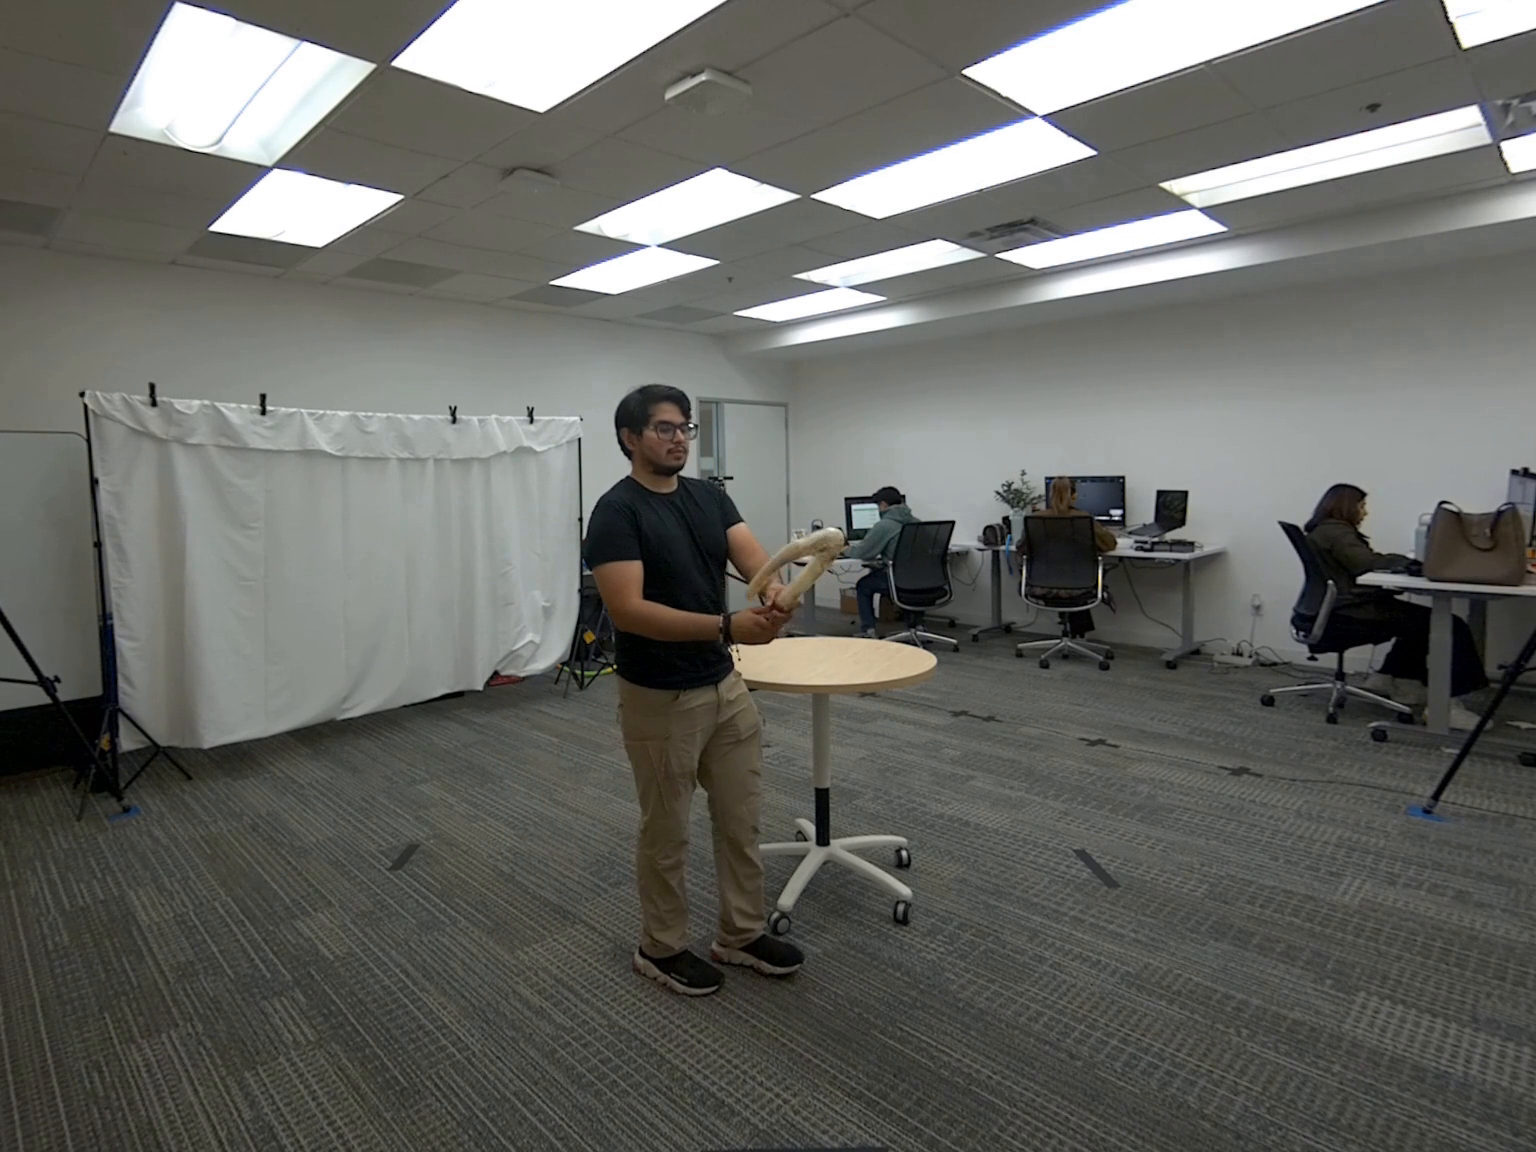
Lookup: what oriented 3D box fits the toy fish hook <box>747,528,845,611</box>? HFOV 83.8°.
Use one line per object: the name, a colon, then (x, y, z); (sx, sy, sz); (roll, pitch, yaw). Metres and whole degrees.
toy fish hook: (0.017, 0.048, 1.912); (0.221, 0.049, 0.500); (-19, -24, -28)
